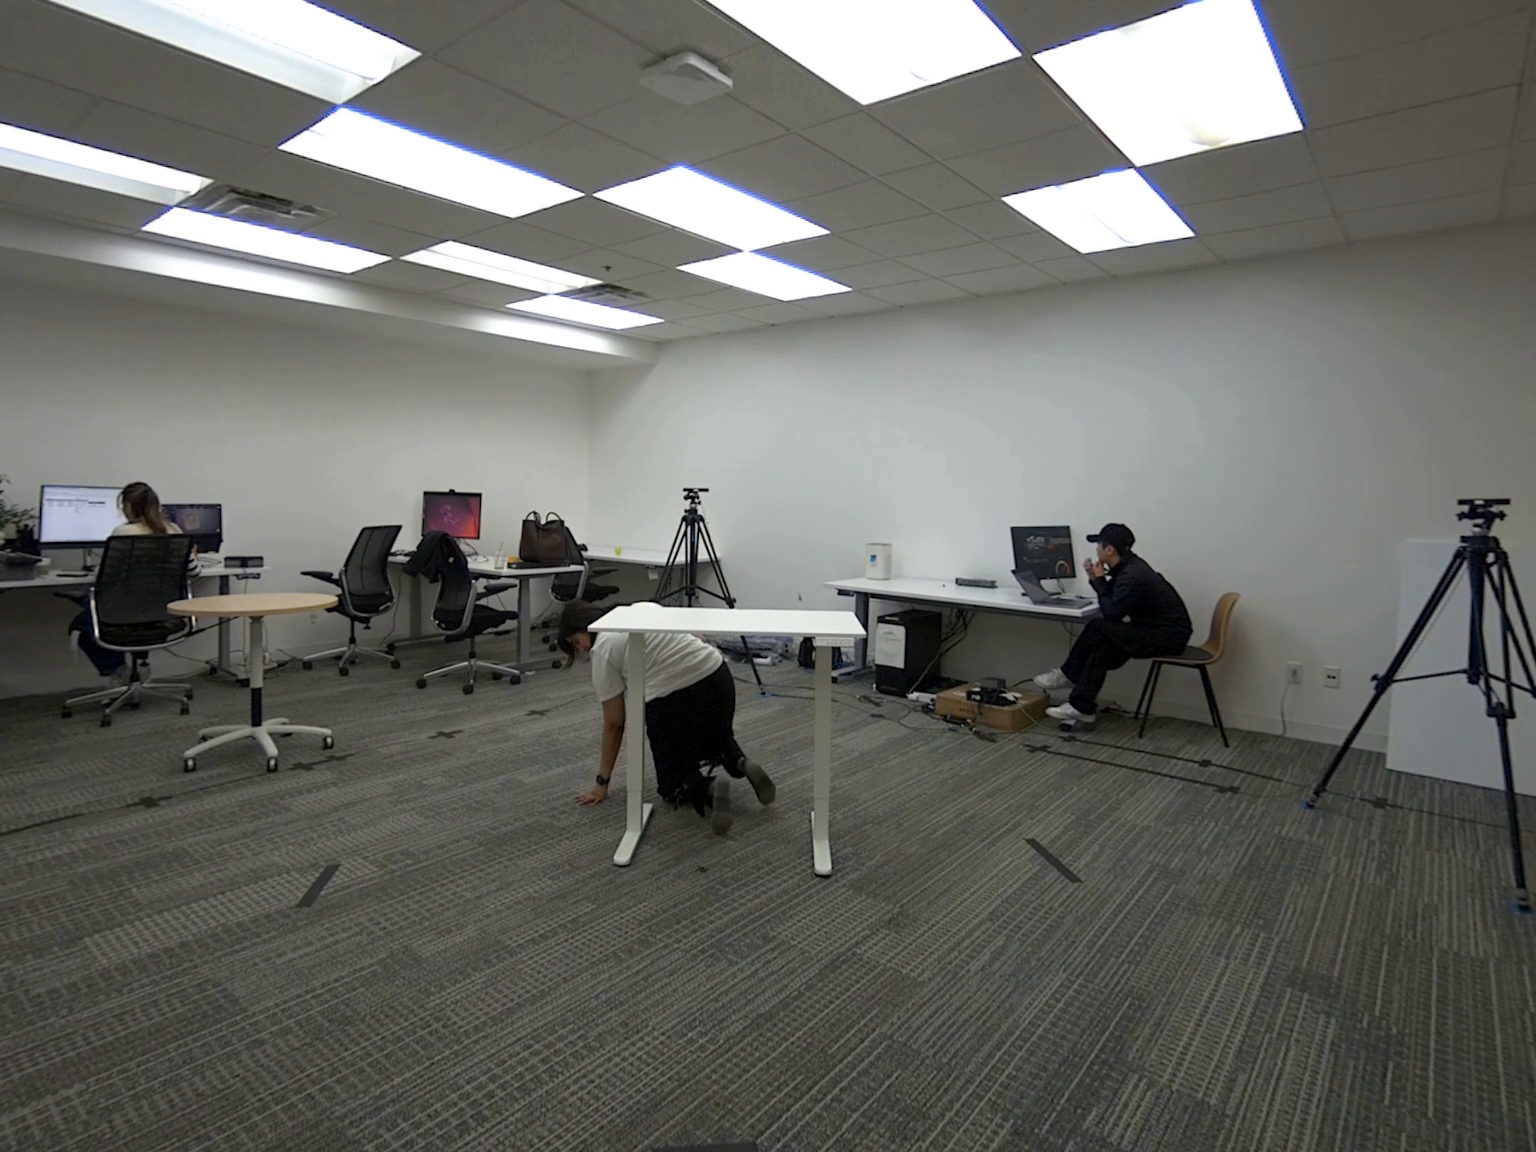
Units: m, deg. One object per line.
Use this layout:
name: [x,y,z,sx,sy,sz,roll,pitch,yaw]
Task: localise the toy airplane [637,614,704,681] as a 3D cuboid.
toy airplane: [-0.461,0.368,3.989,0.261,0.151,0.258,-30,29,16]
